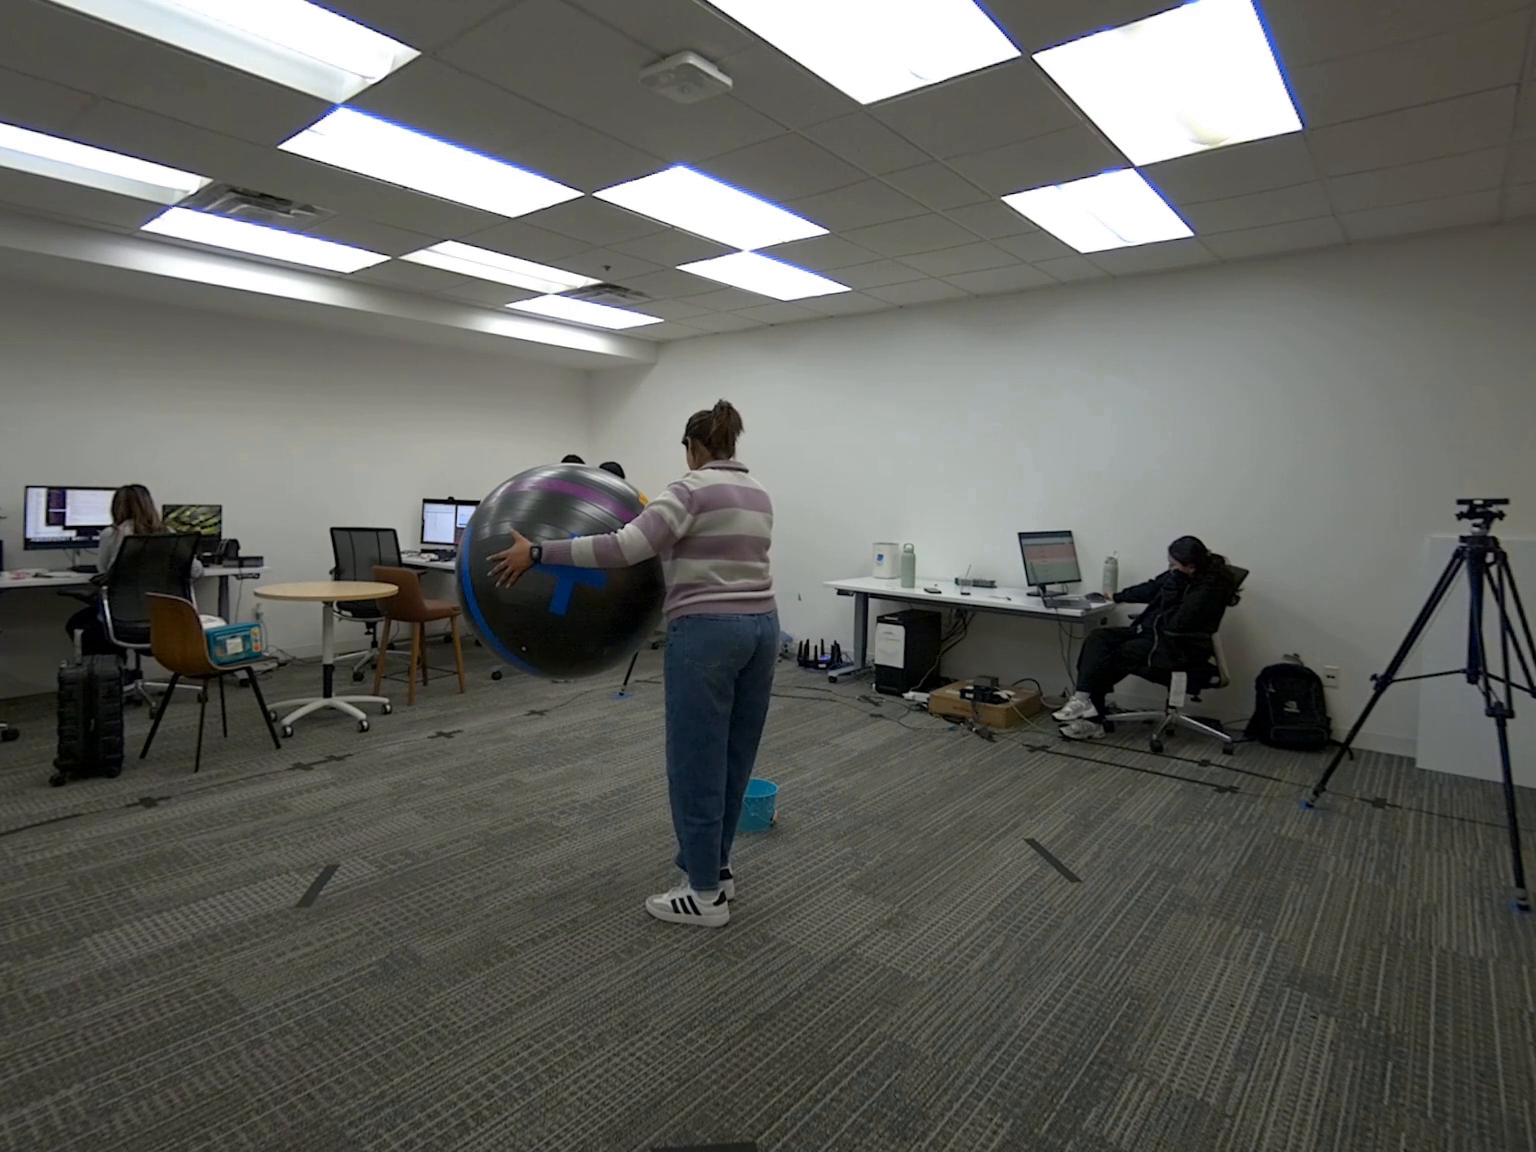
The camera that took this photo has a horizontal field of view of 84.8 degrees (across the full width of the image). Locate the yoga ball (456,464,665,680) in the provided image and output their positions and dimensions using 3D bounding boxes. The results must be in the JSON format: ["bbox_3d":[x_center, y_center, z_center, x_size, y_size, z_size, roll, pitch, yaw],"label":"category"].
[{"bbox_3d":[-0.727,-0.016,2.997,0.757,0.756,0.761,1,4,-2],"label":"yoga ball"}]
